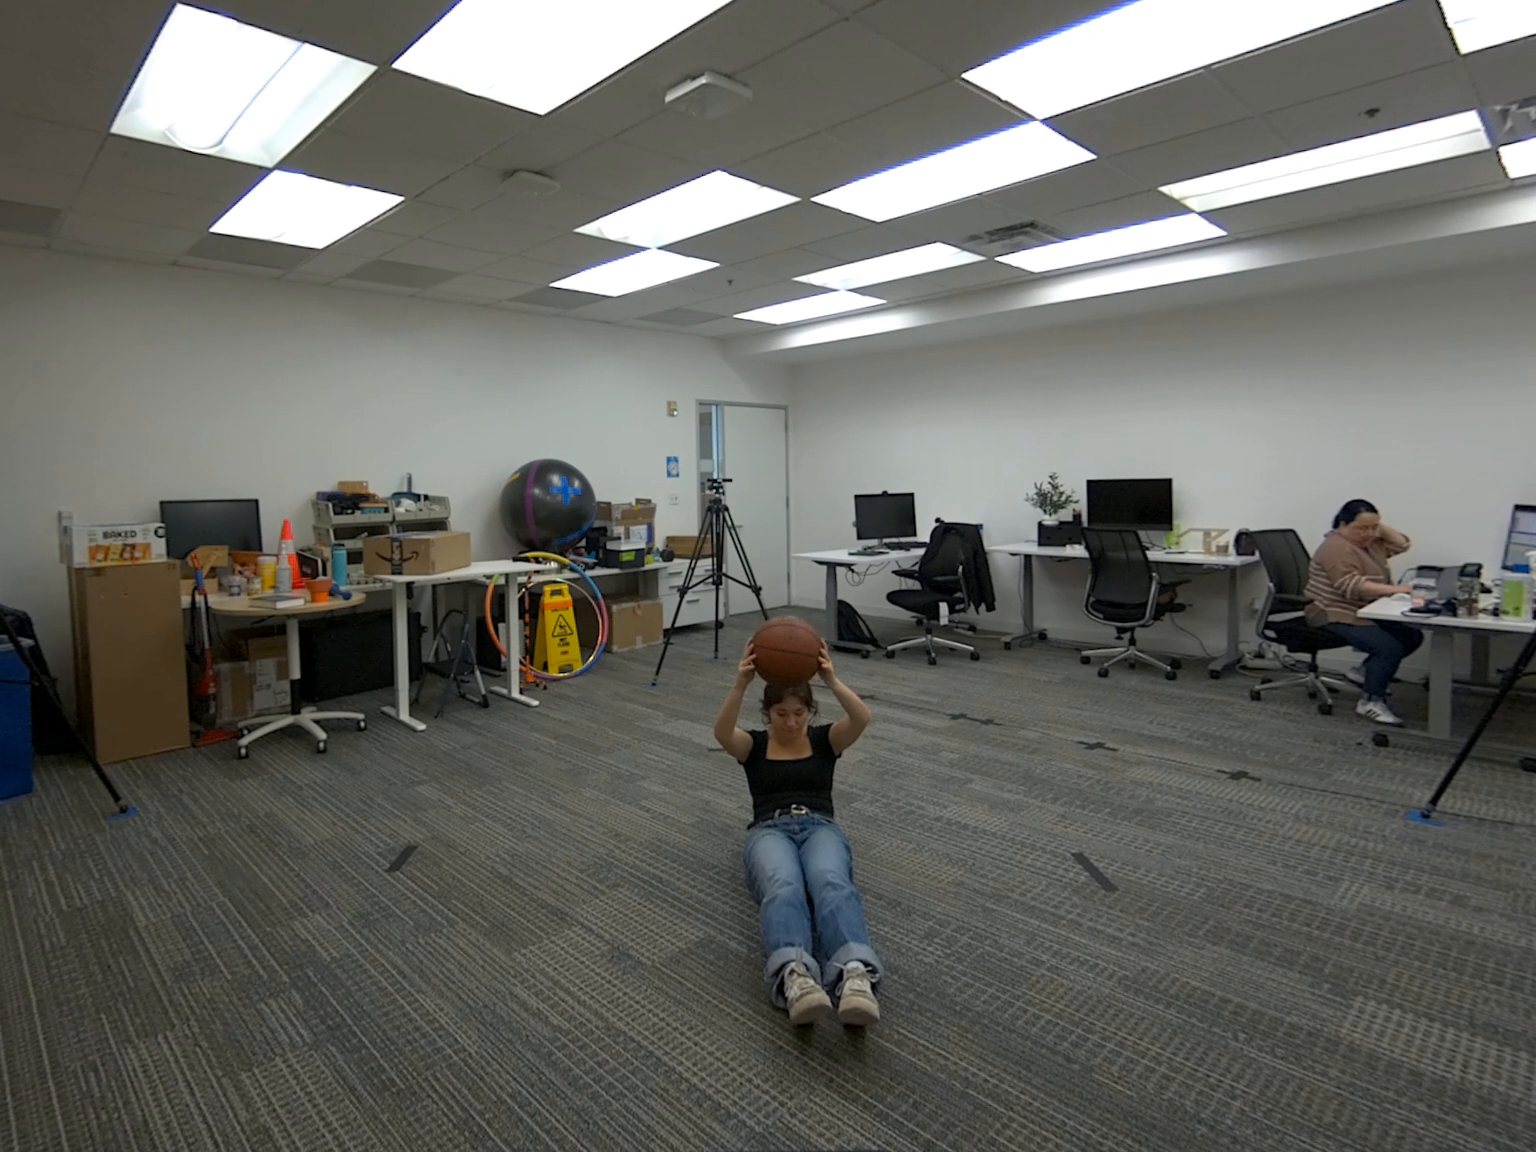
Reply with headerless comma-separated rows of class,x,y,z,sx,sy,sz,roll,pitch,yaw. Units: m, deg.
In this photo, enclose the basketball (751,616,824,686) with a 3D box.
basketball,0.066,0.250,2.828,0.236,0.235,0.237,-1,5,-2
